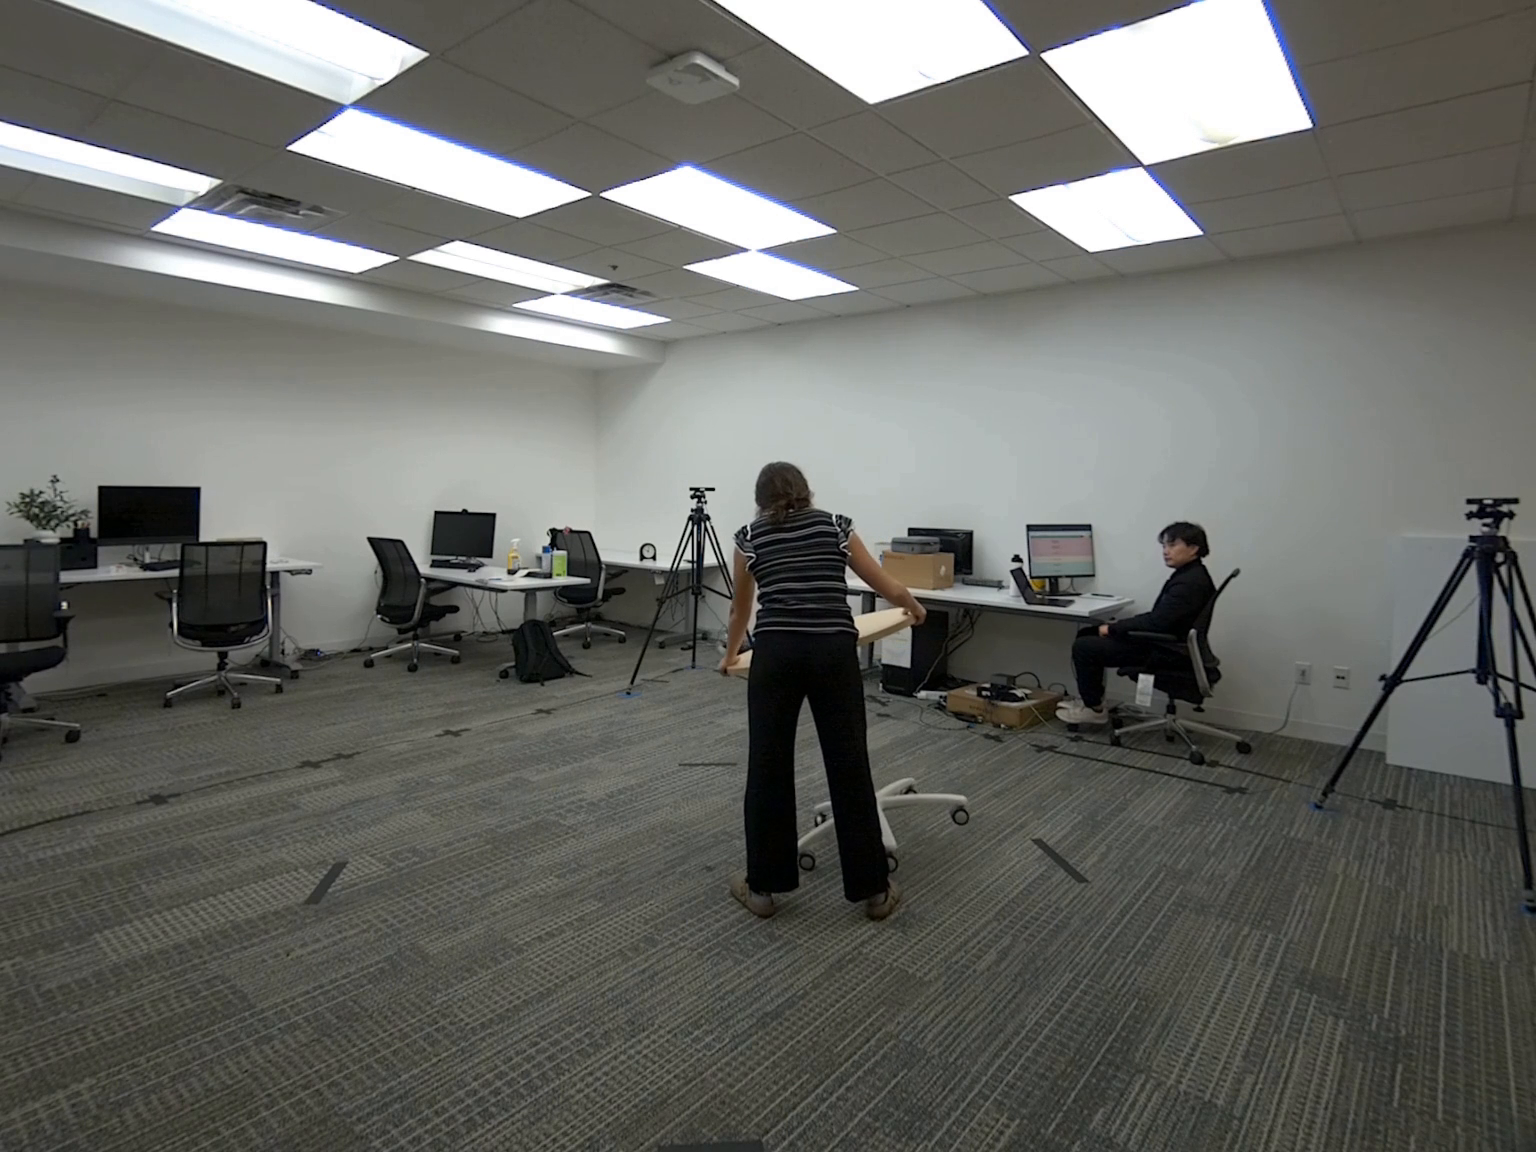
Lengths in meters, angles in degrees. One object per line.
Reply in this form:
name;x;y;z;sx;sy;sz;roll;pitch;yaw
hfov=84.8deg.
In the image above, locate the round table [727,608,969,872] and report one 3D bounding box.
round table;0.310;0.610;3.252;0.763;0.795;0.764;-17;0;-2
